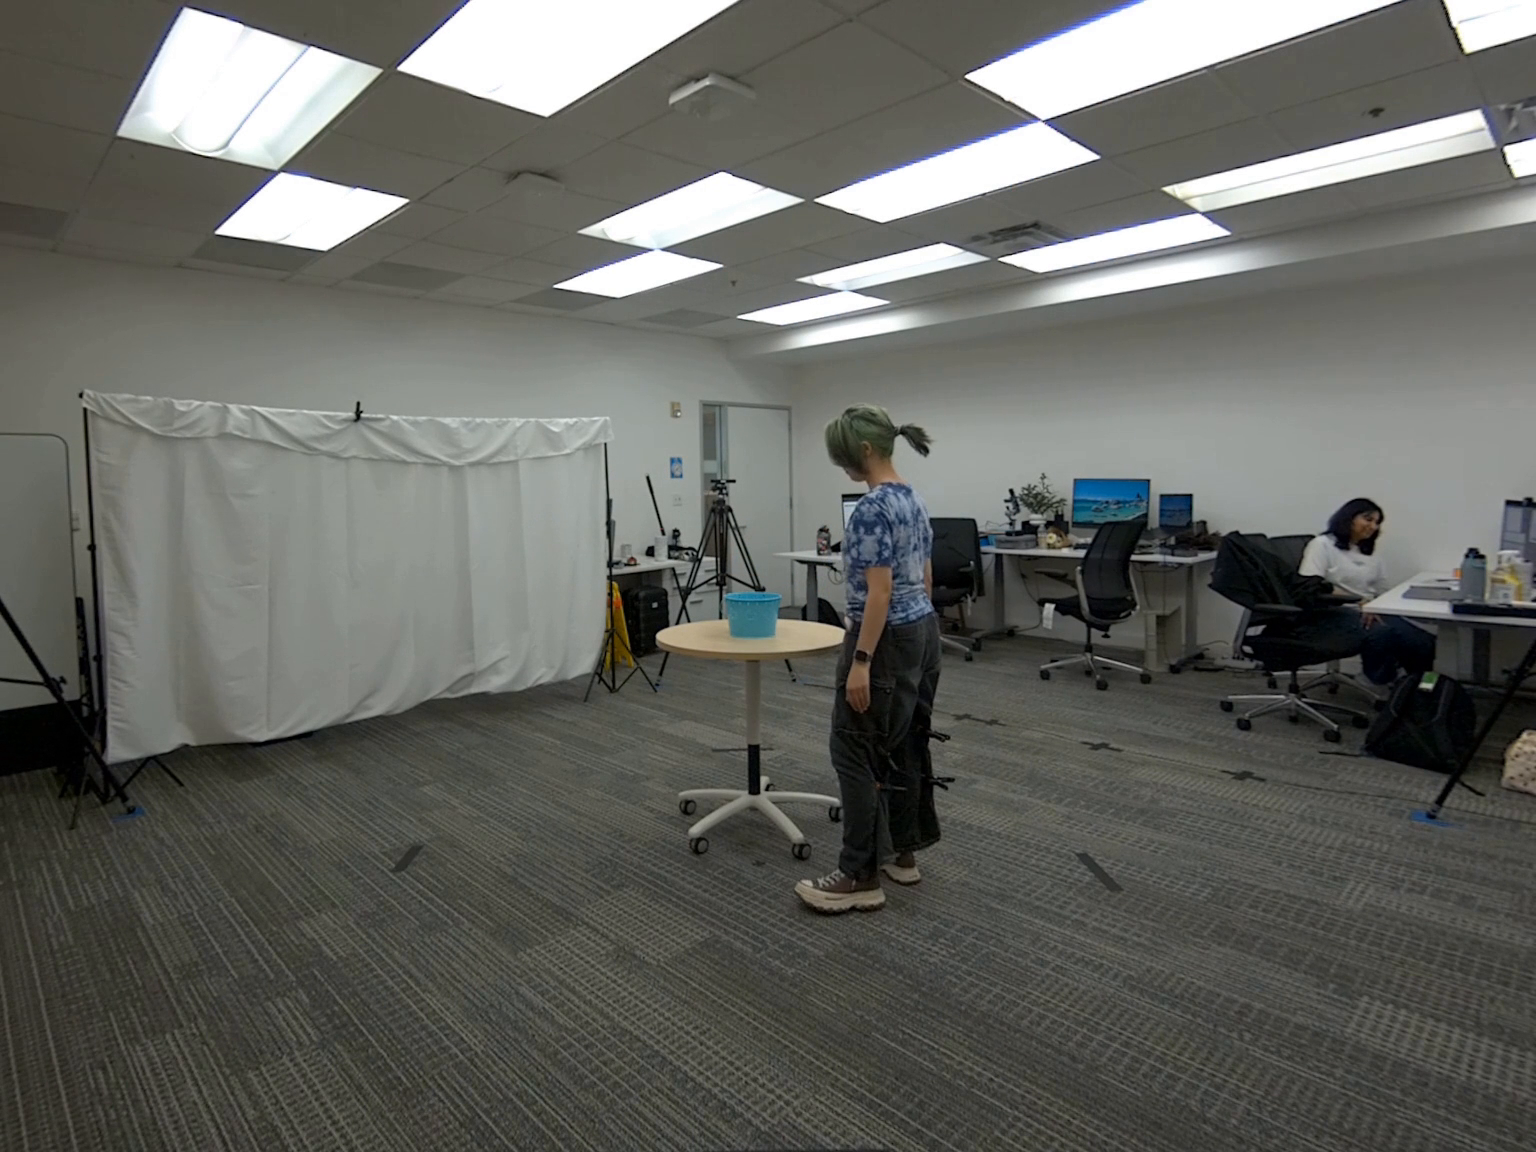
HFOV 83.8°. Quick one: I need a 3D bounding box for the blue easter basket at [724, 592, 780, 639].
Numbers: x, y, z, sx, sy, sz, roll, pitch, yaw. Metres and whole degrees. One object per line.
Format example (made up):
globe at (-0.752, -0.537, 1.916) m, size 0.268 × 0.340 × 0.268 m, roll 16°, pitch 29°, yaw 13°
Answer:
blue easter basket at (-0.060, 0.158, 3.392) m, size 0.243 × 0.155 × 0.245 m, roll -1°, pitch 6°, yaw -2°
